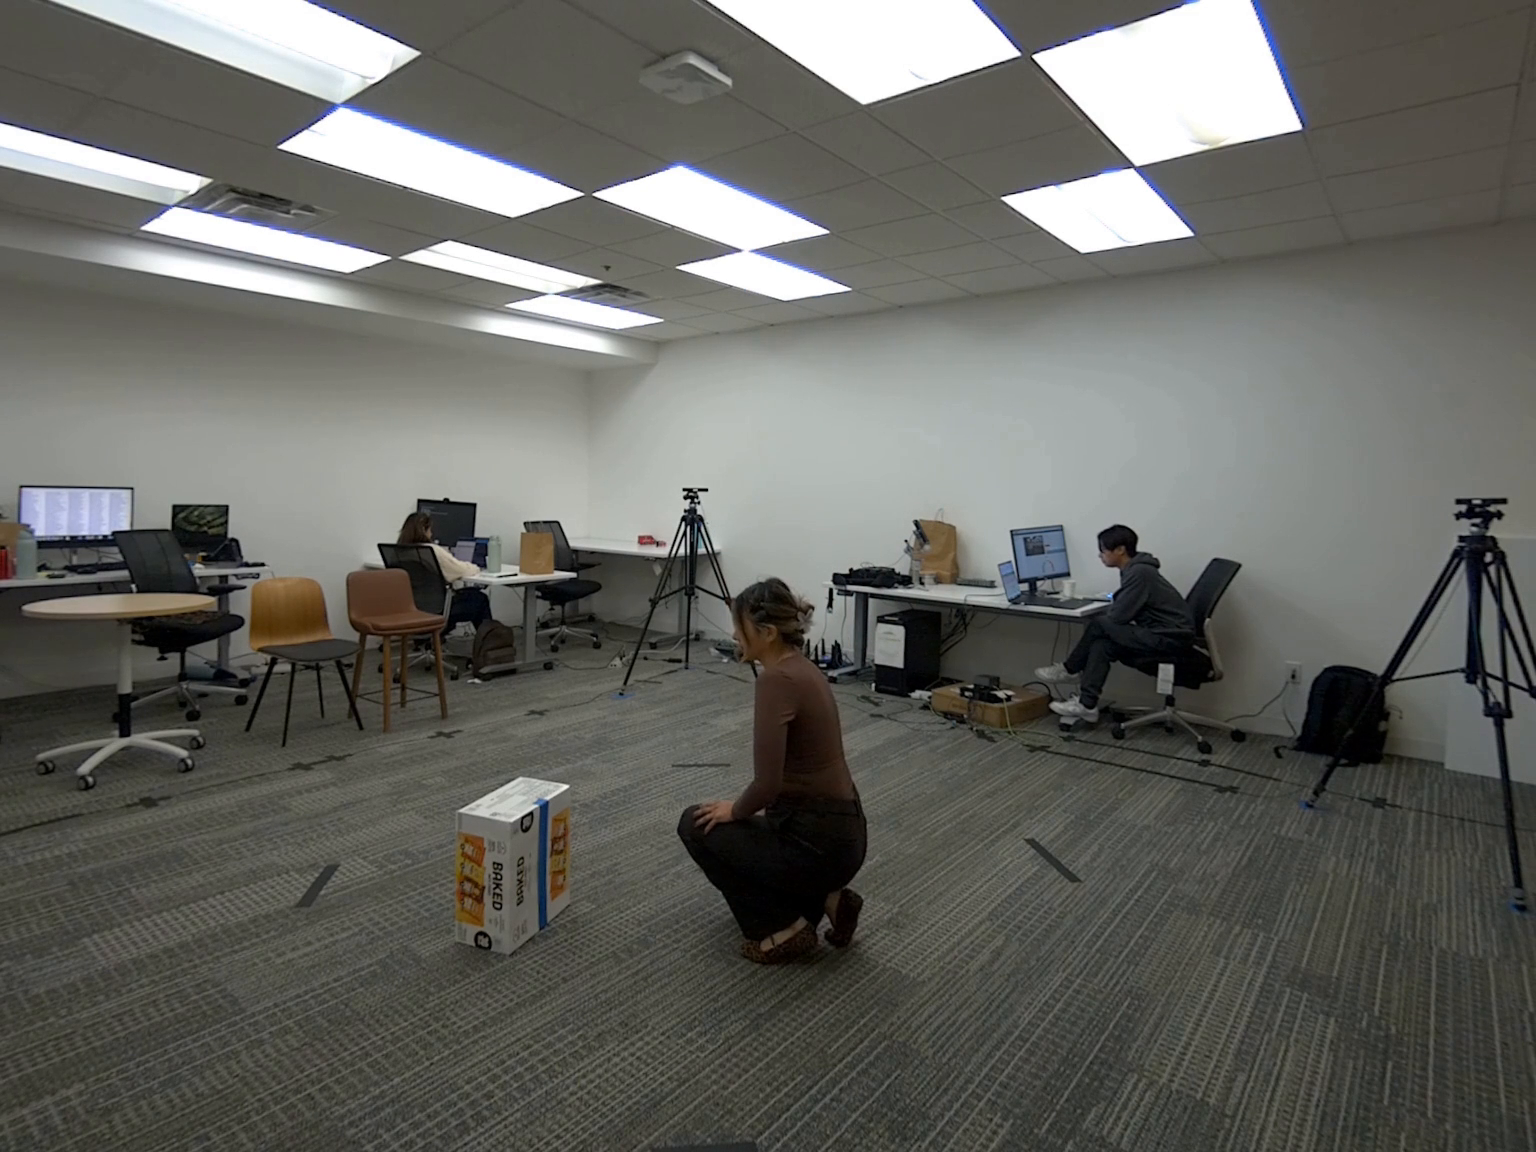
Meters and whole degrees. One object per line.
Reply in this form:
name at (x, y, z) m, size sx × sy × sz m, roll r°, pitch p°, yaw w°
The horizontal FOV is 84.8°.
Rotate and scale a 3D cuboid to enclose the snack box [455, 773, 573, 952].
snack box at (-0.808, 0.895, 2.690) m, size 0.210 × 0.404 × 0.334 m, roll 2°, pitch 4°, yaw 19°
